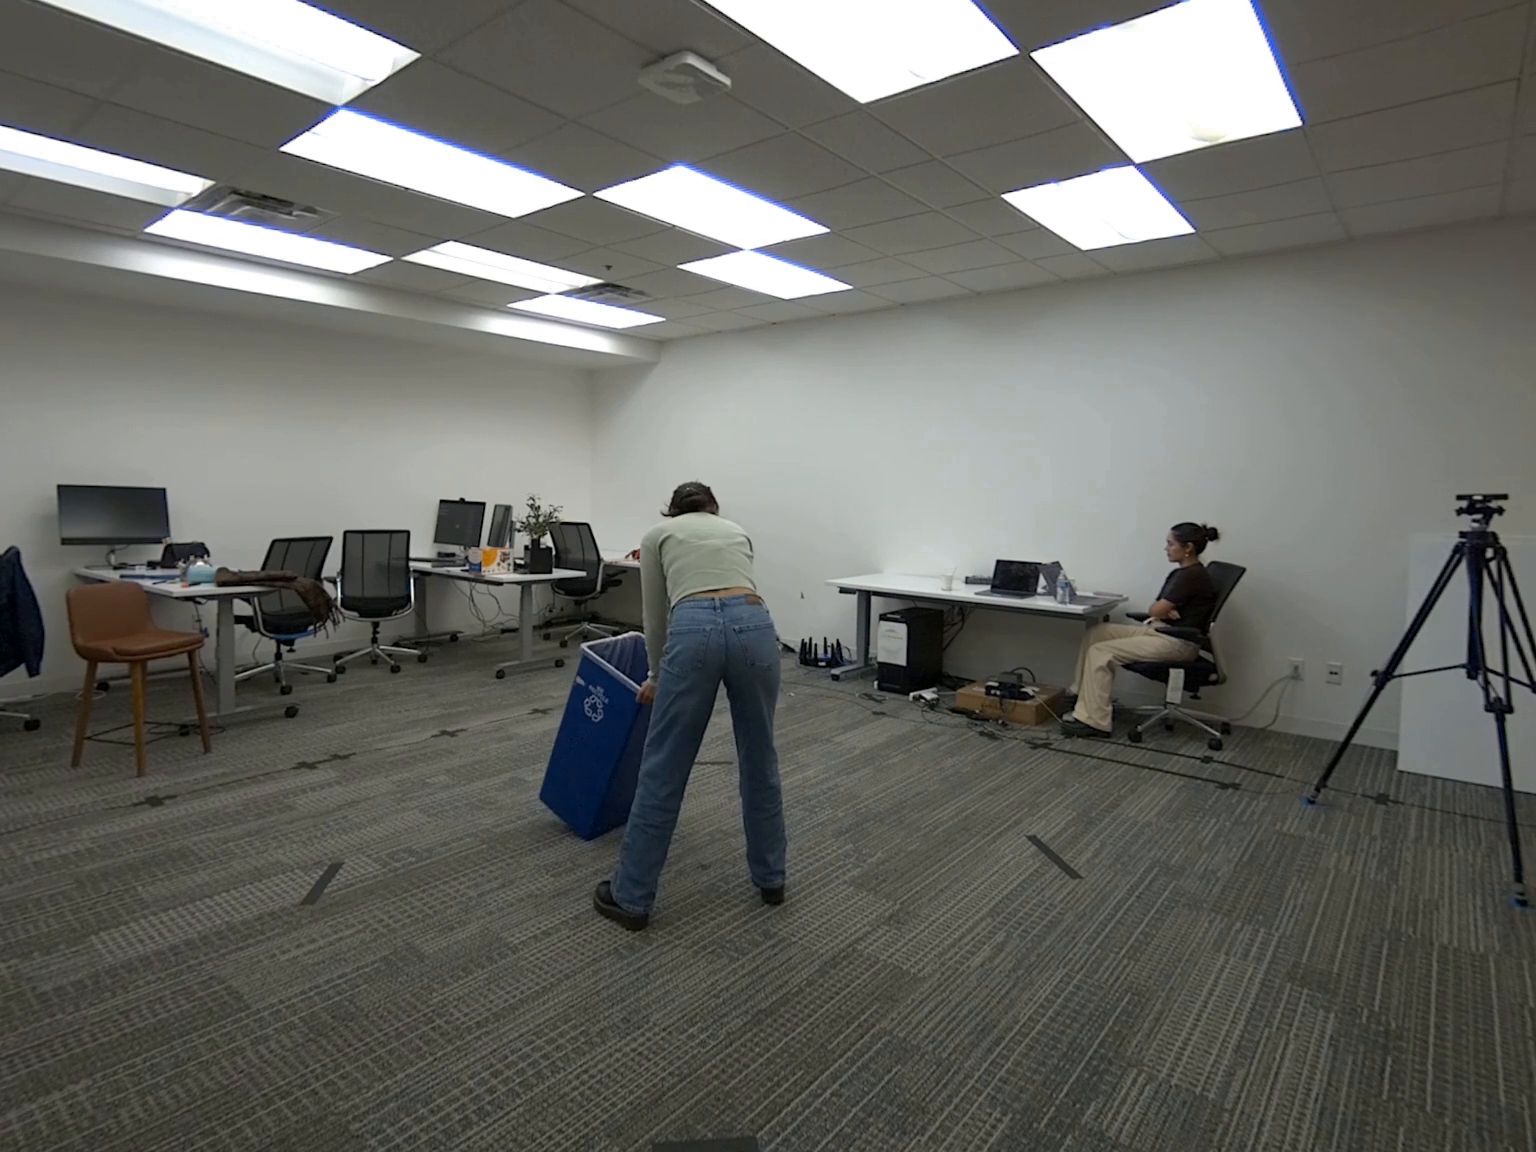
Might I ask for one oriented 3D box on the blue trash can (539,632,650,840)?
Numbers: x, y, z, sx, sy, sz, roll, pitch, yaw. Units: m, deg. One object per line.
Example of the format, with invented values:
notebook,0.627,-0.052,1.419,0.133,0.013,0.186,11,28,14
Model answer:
blue trash can,-0.621,0.644,3.419,0.387,0.707,0.368,29,18,27
